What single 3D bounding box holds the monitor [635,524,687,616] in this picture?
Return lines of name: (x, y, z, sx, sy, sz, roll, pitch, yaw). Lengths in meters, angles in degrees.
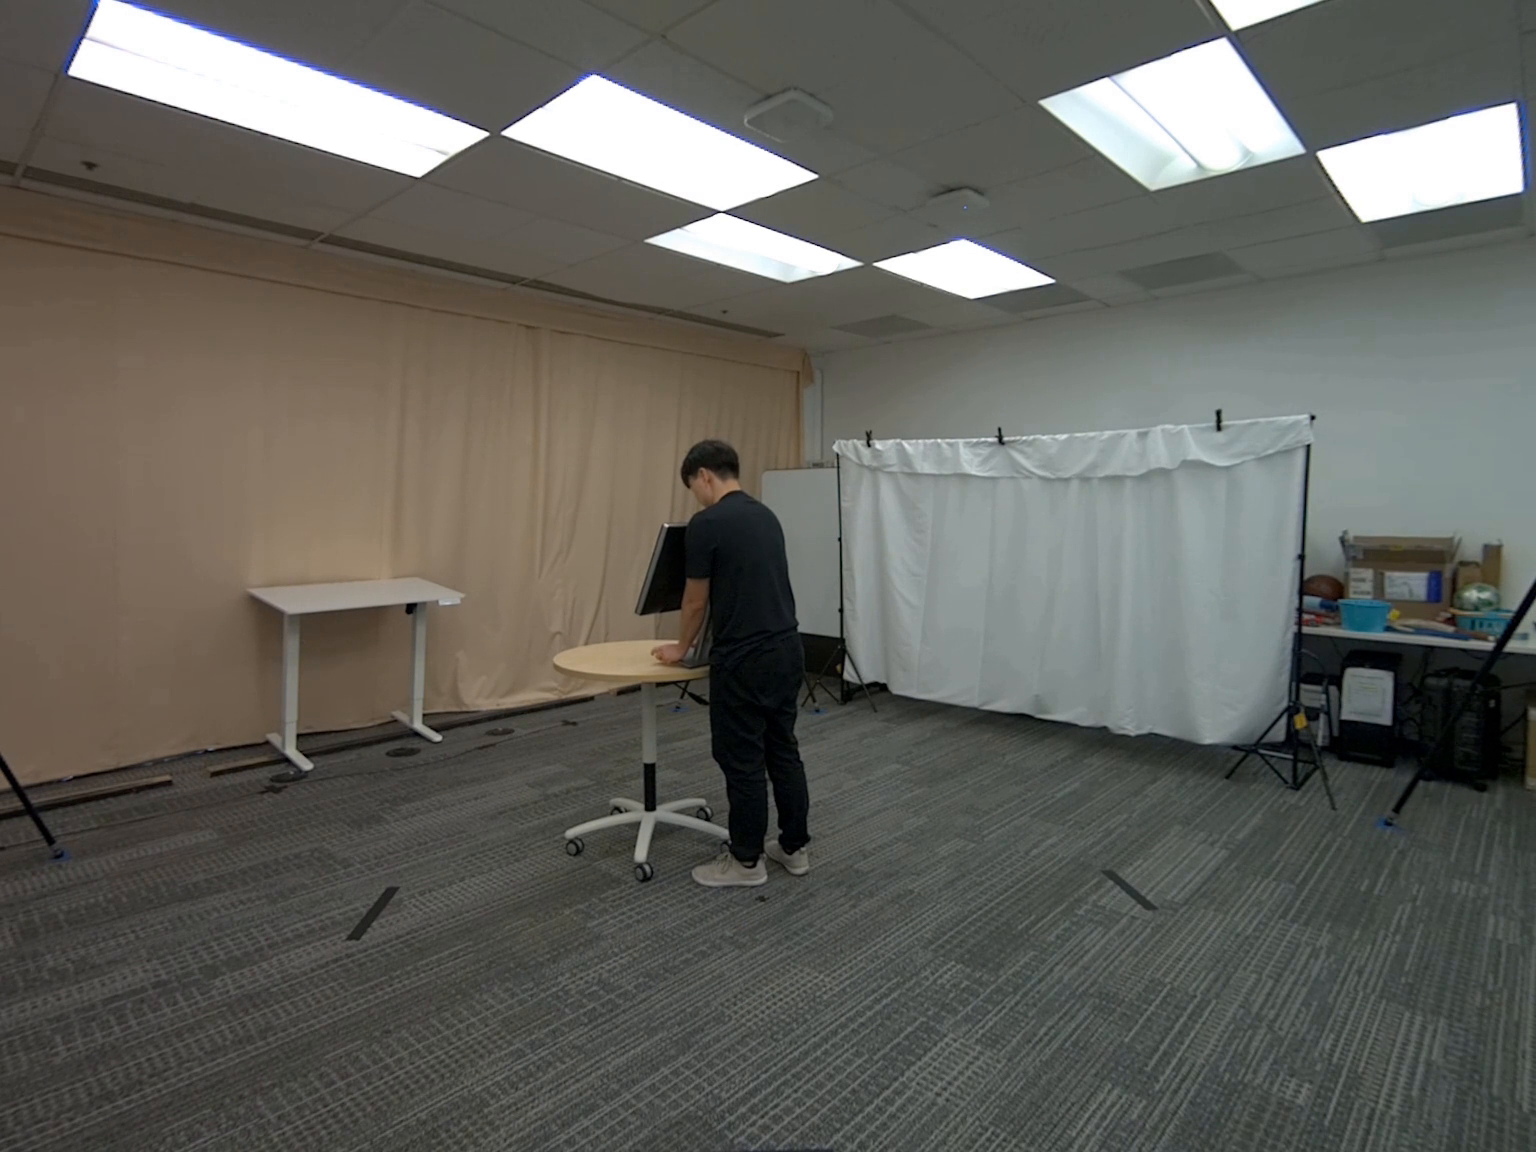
monitor: (-0.261, 0.052, 3.255, 0.193, 0.520, 0.524, 17, 13, 33)
